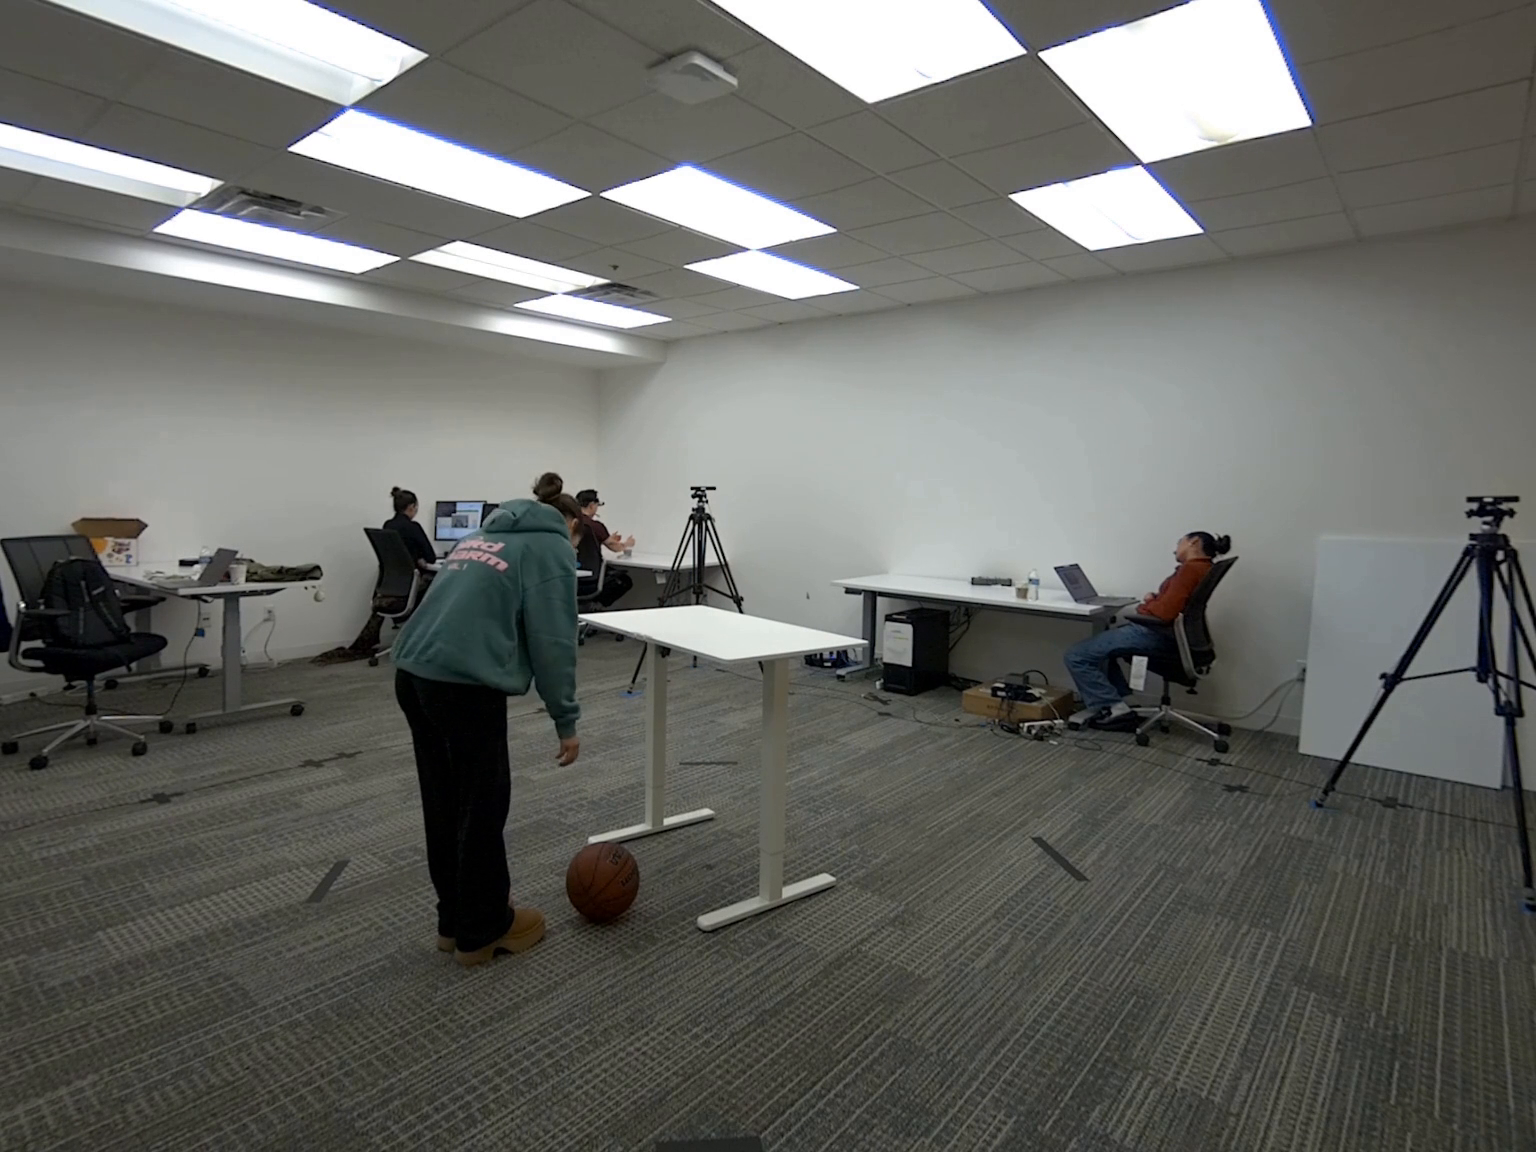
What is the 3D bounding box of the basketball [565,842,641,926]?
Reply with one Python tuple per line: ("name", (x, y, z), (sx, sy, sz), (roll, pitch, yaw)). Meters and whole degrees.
("basketball", (-0.549, 0.983, 2.735), (0.235, 0.235, 0.237), (1, 4, -2))
